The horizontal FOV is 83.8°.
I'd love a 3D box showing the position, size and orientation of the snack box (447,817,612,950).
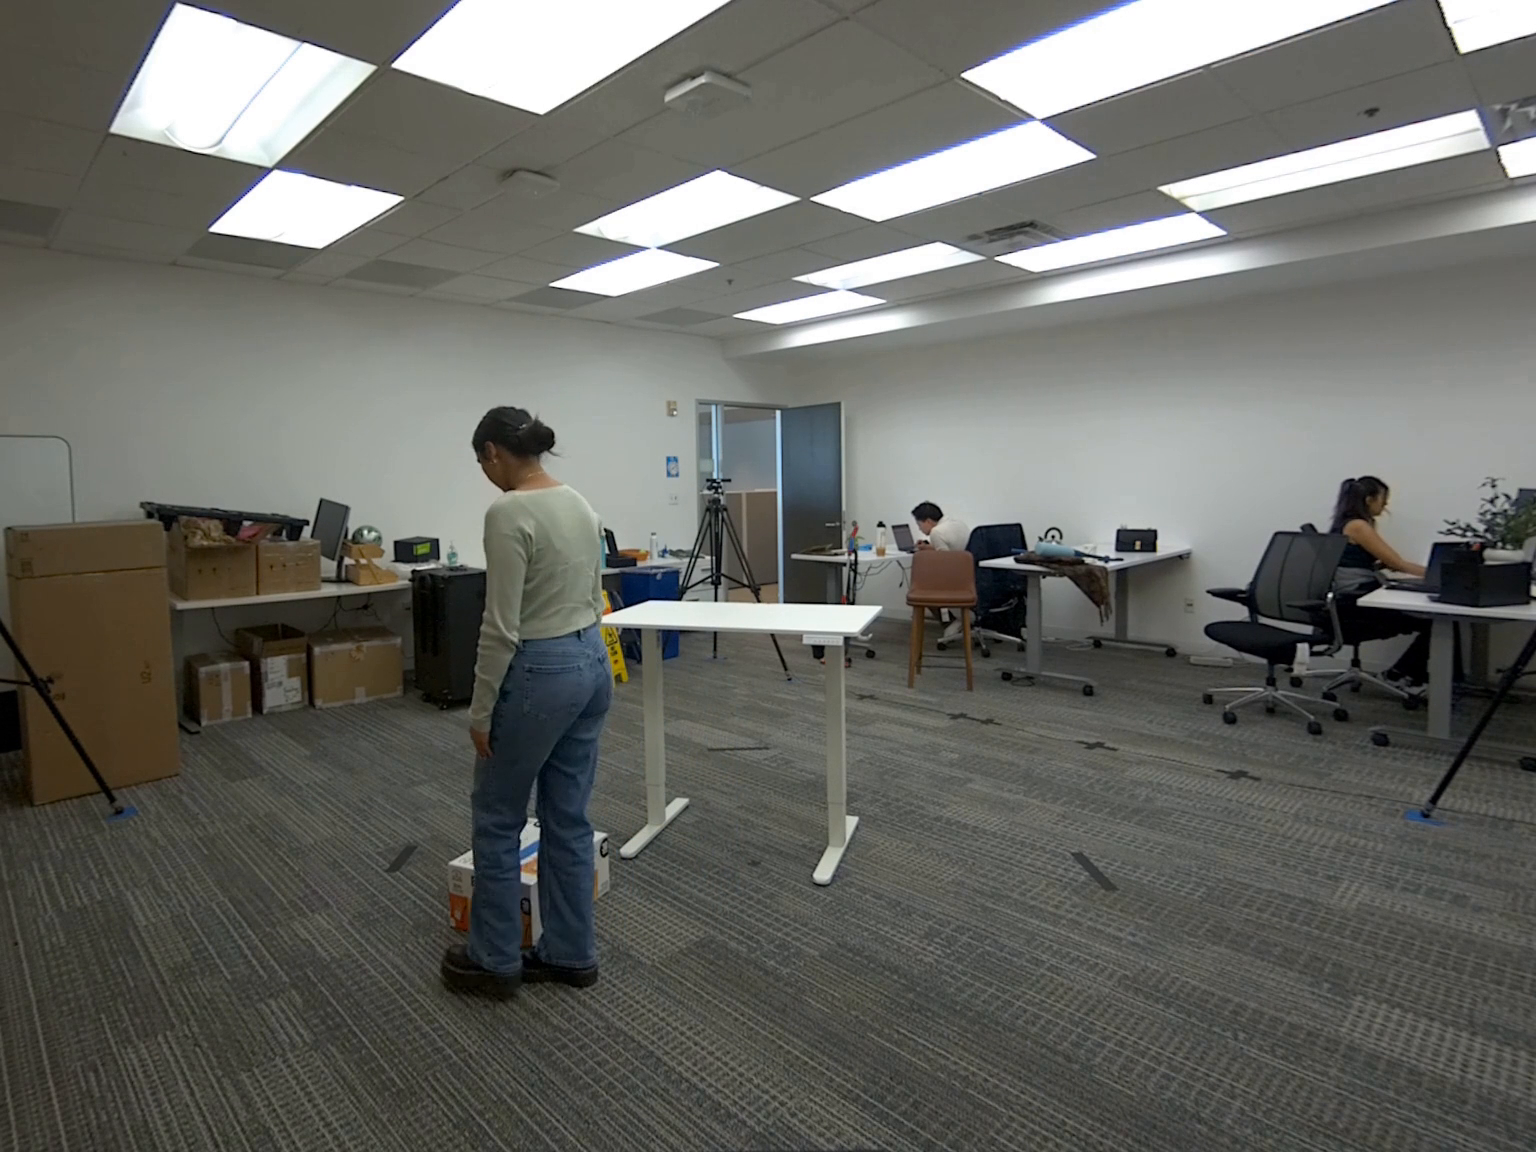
[{"bbox_3d":[-0.773,0.993,2.801,0.348,0.205,0.398,2,7,25],"label":"snack box"}]
